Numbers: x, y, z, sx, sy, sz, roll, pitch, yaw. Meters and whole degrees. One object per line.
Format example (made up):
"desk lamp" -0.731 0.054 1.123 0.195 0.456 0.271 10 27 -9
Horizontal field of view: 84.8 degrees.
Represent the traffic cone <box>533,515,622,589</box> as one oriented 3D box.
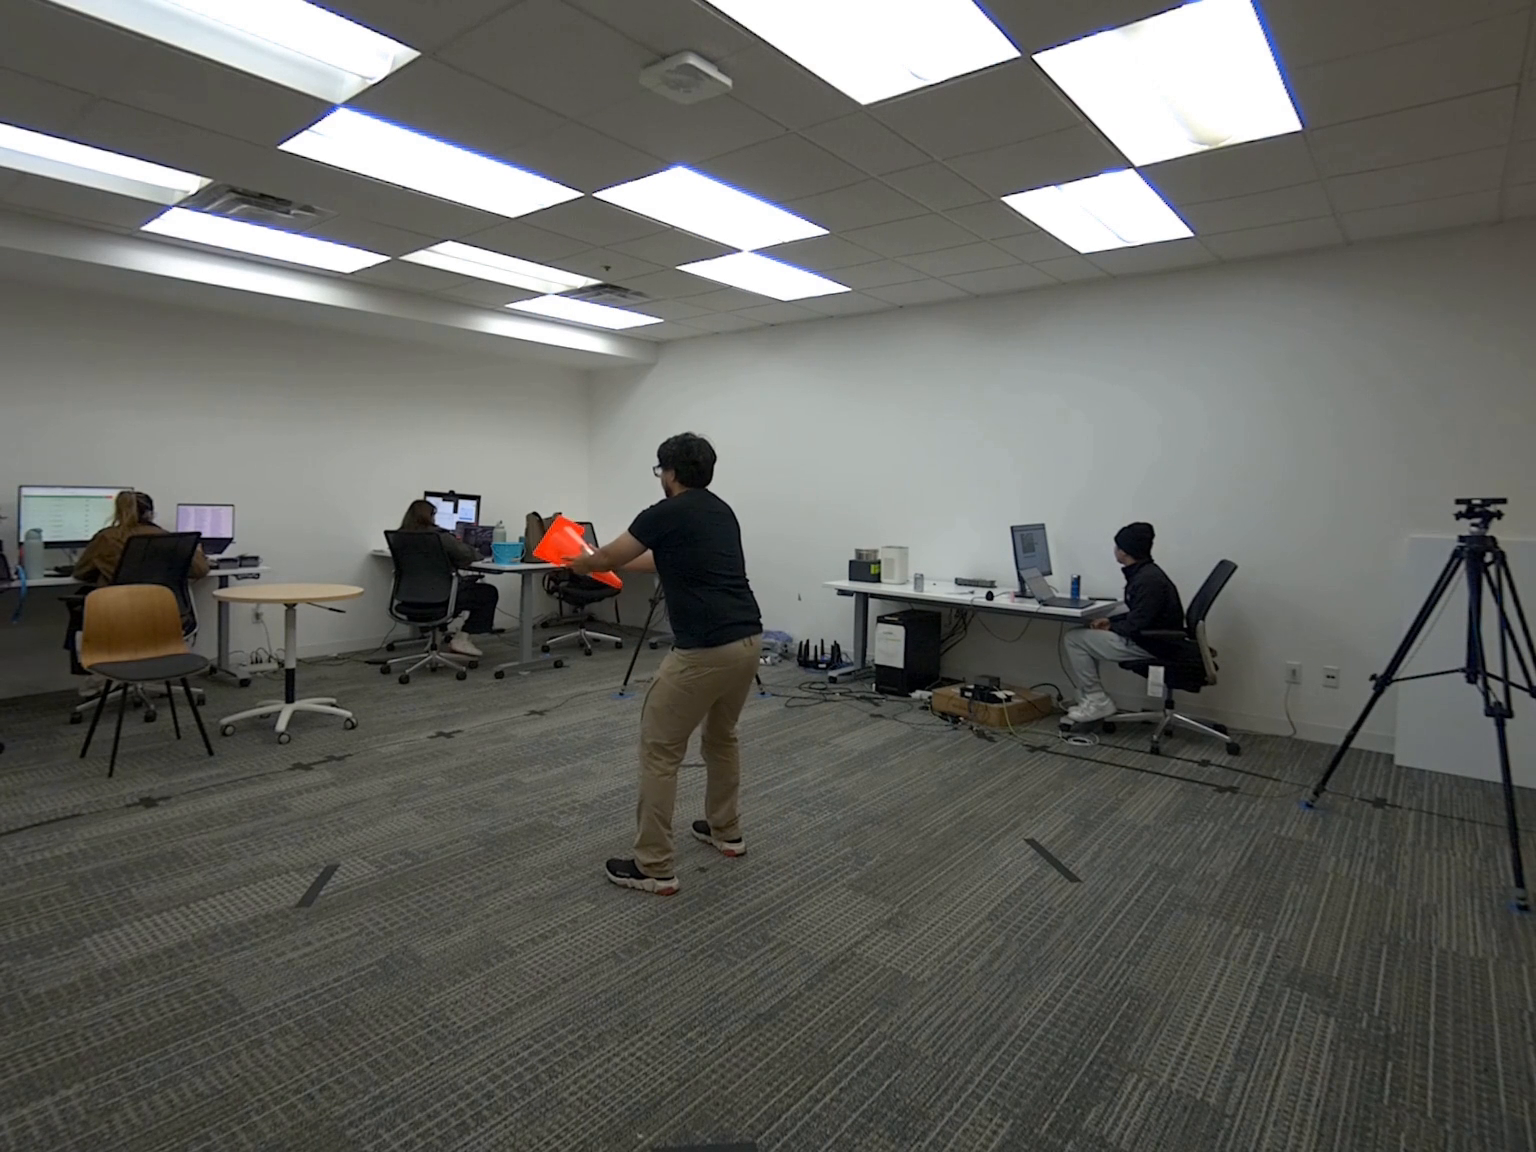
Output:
"traffic cone" -0.750 -0.053 3.488 0.398 0.203 0.197 31 -3 29
